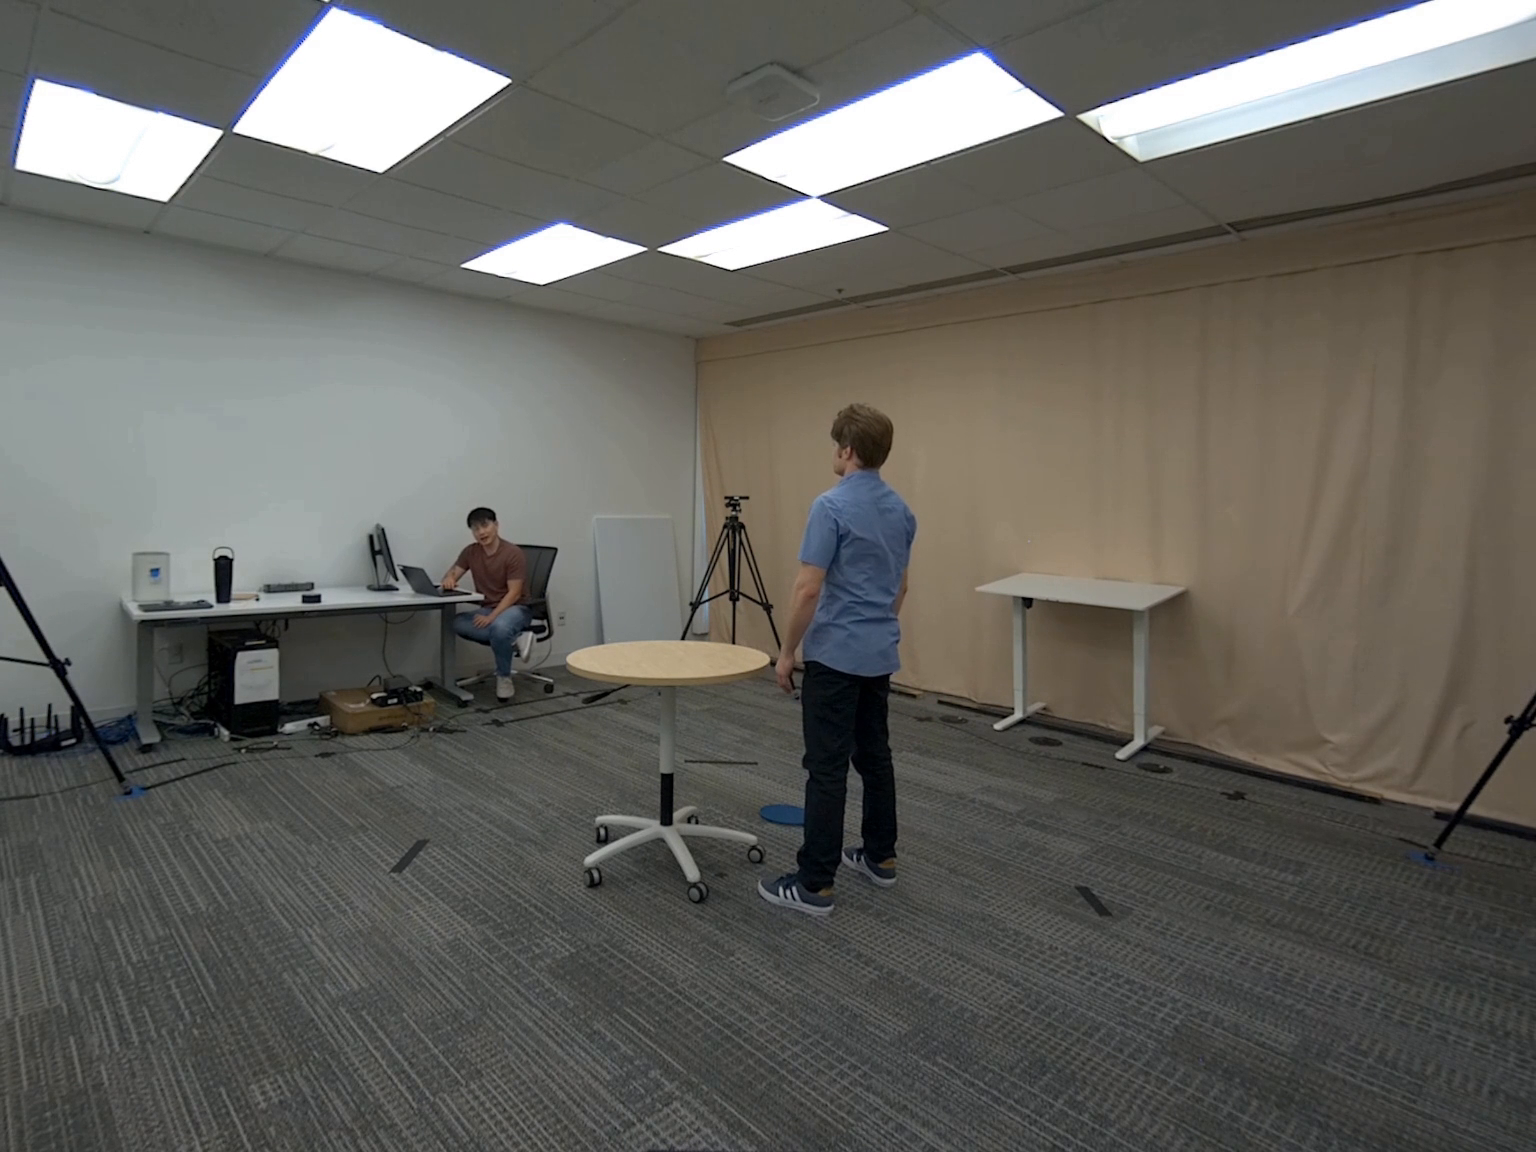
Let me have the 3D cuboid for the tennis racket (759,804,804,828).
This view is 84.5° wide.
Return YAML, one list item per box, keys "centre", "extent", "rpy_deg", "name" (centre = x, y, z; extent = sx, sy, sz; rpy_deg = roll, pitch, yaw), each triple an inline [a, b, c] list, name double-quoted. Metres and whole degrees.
- centre: [0.132, 1.048, 3.639]
  extent: [0.444, 0.032, 0.209]
  rpy_deg: [5, 5, 43]
  name: "tennis racket"
